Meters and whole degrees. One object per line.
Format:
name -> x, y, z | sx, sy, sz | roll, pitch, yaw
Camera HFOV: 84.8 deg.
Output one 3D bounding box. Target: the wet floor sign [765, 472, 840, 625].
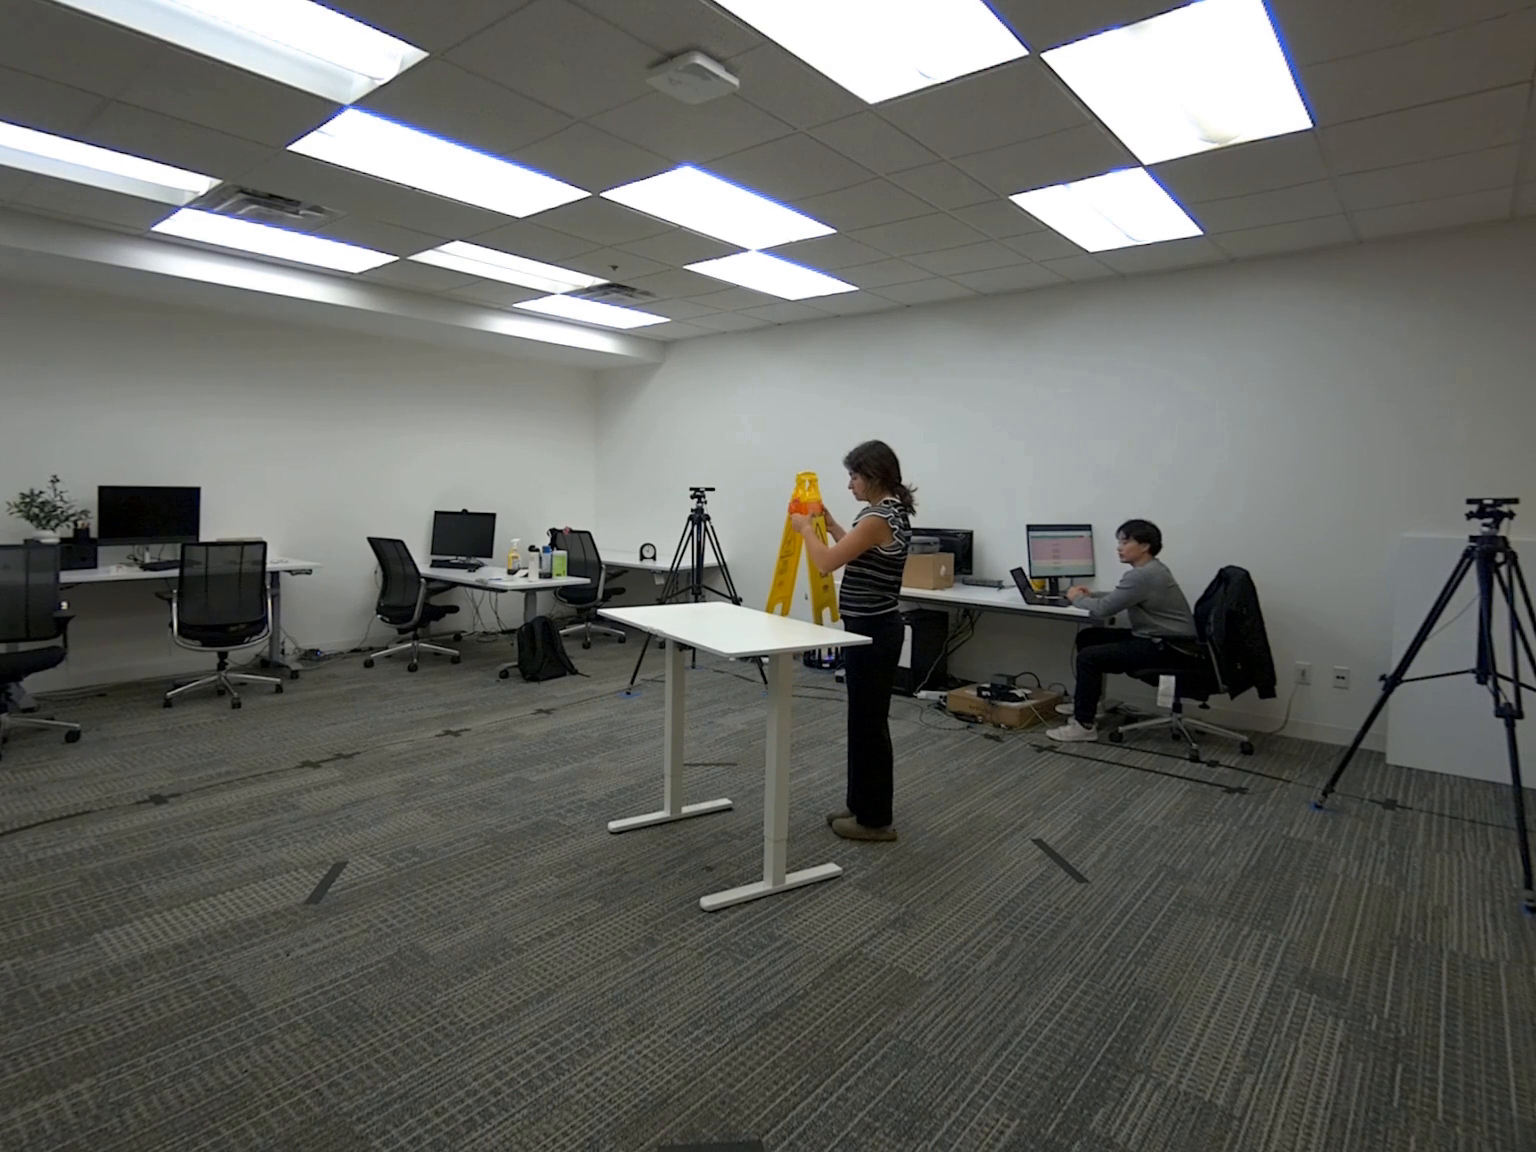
wet floor sign -> 0.145, -0.125, 3.658 | 0.297, 0.643, 0.276 | 3, 5, 24
